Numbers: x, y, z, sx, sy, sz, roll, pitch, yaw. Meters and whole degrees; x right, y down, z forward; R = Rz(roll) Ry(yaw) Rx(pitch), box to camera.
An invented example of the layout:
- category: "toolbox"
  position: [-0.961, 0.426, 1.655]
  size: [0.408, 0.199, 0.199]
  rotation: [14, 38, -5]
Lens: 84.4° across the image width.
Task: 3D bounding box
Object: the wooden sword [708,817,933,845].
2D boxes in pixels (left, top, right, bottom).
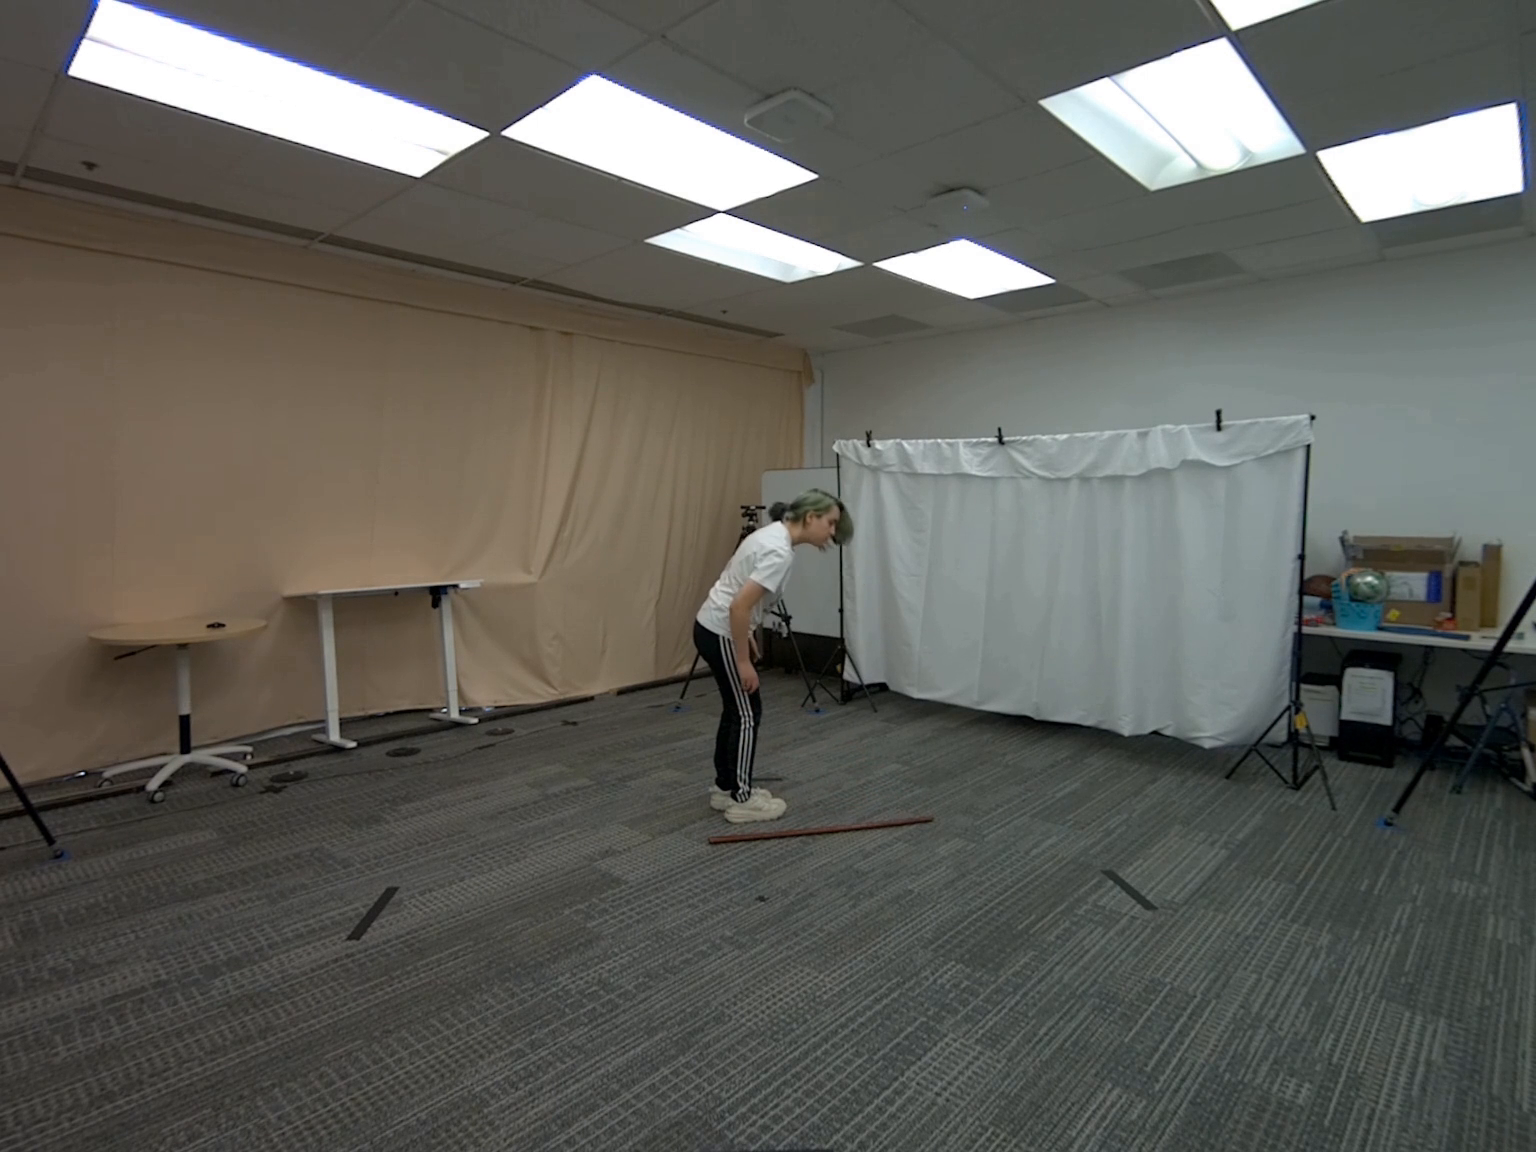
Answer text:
- category: "wooden sword"
  position: [0.245, 1.071, 3.587]
  size: [1.009, 0.024, 0.051]
  rotation: [-1, -14, -14]
